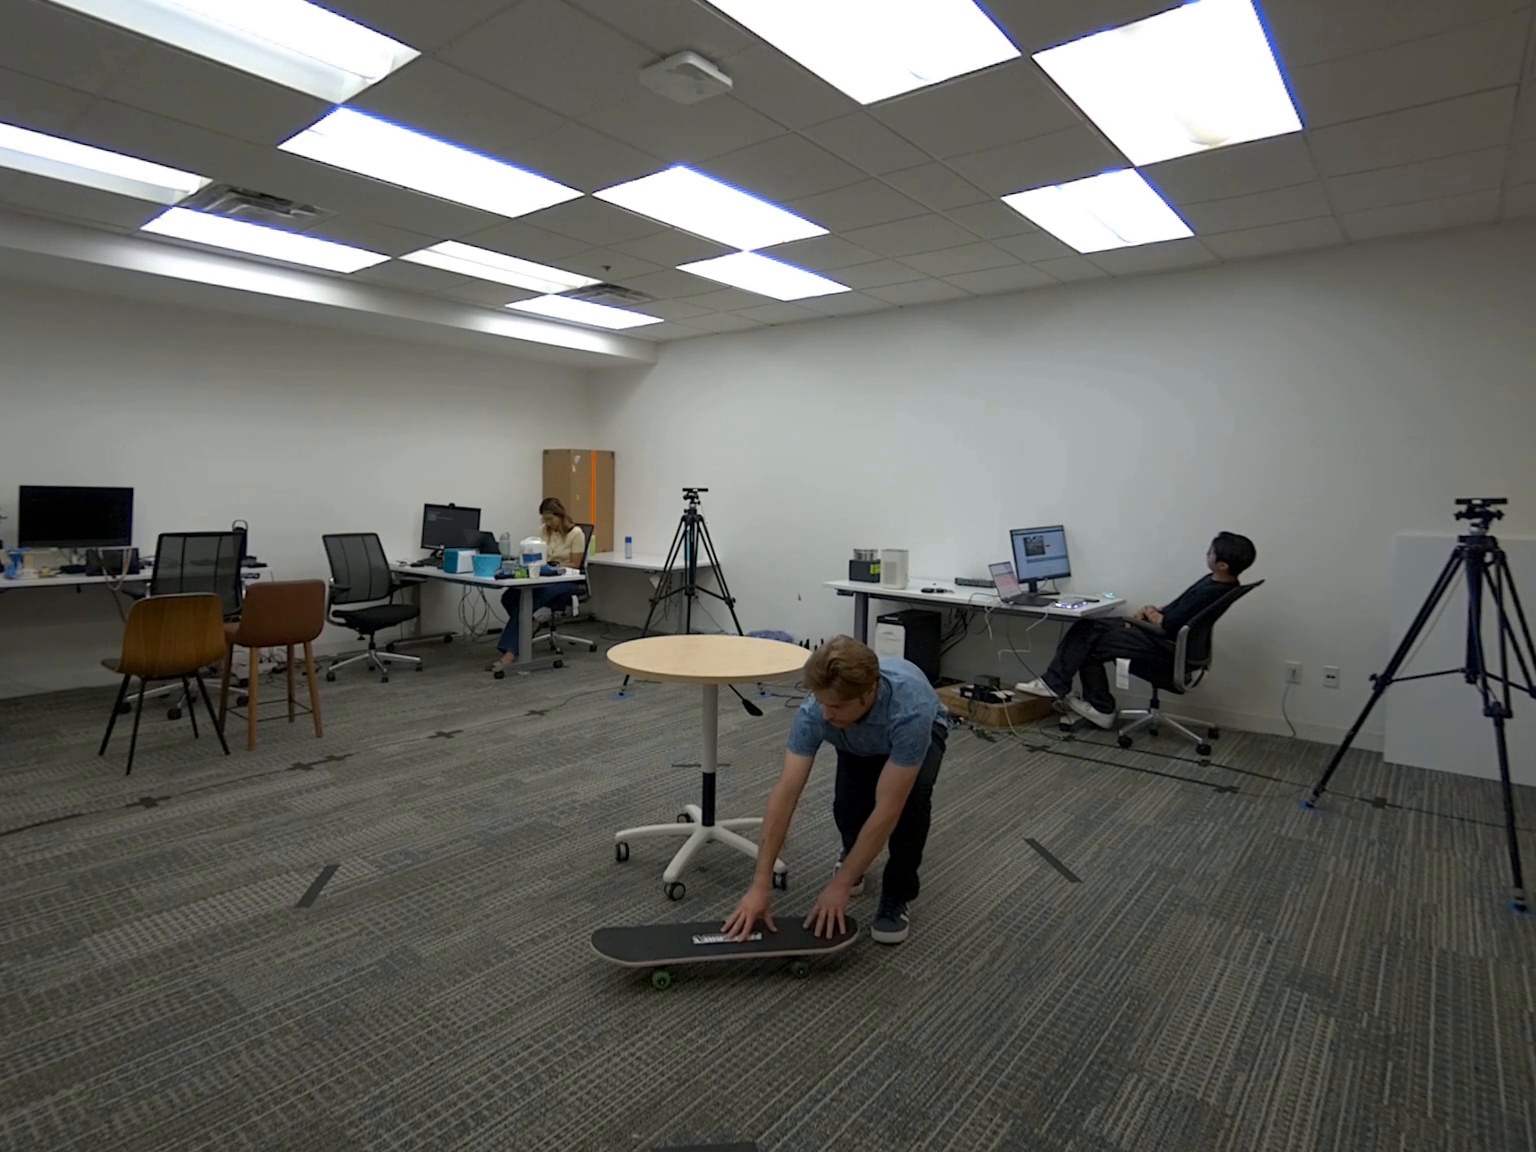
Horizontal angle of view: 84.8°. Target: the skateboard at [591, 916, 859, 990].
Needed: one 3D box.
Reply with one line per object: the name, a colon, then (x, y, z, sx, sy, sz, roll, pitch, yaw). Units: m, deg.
skateboard: (-0.124, 1.078, 2.473, 0.776, 0.110, 0.196, 0, 5, -11)
